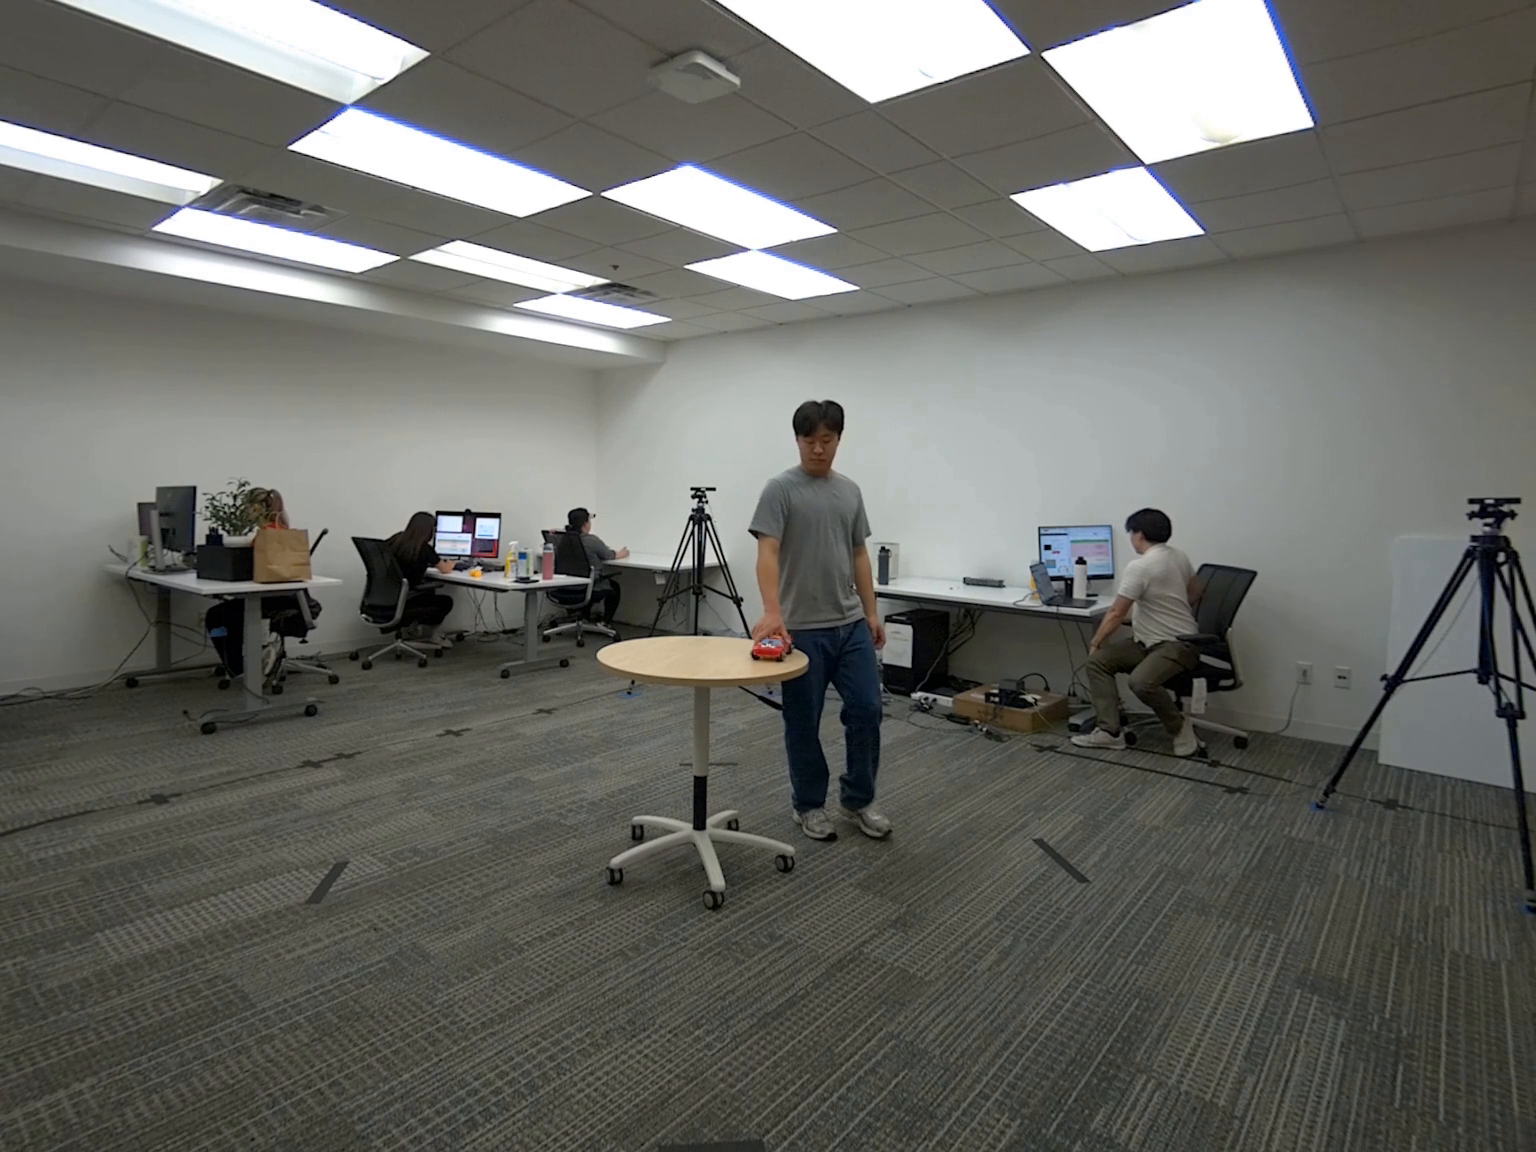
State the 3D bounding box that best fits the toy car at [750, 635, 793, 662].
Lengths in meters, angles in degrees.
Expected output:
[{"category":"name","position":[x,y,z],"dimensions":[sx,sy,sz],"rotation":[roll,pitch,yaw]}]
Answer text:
[{"category":"toy car","position":[0.007,0.255,3.111],"dimensions":[0.132,0.082,0.254],"rotation":[2,16,13]}]
